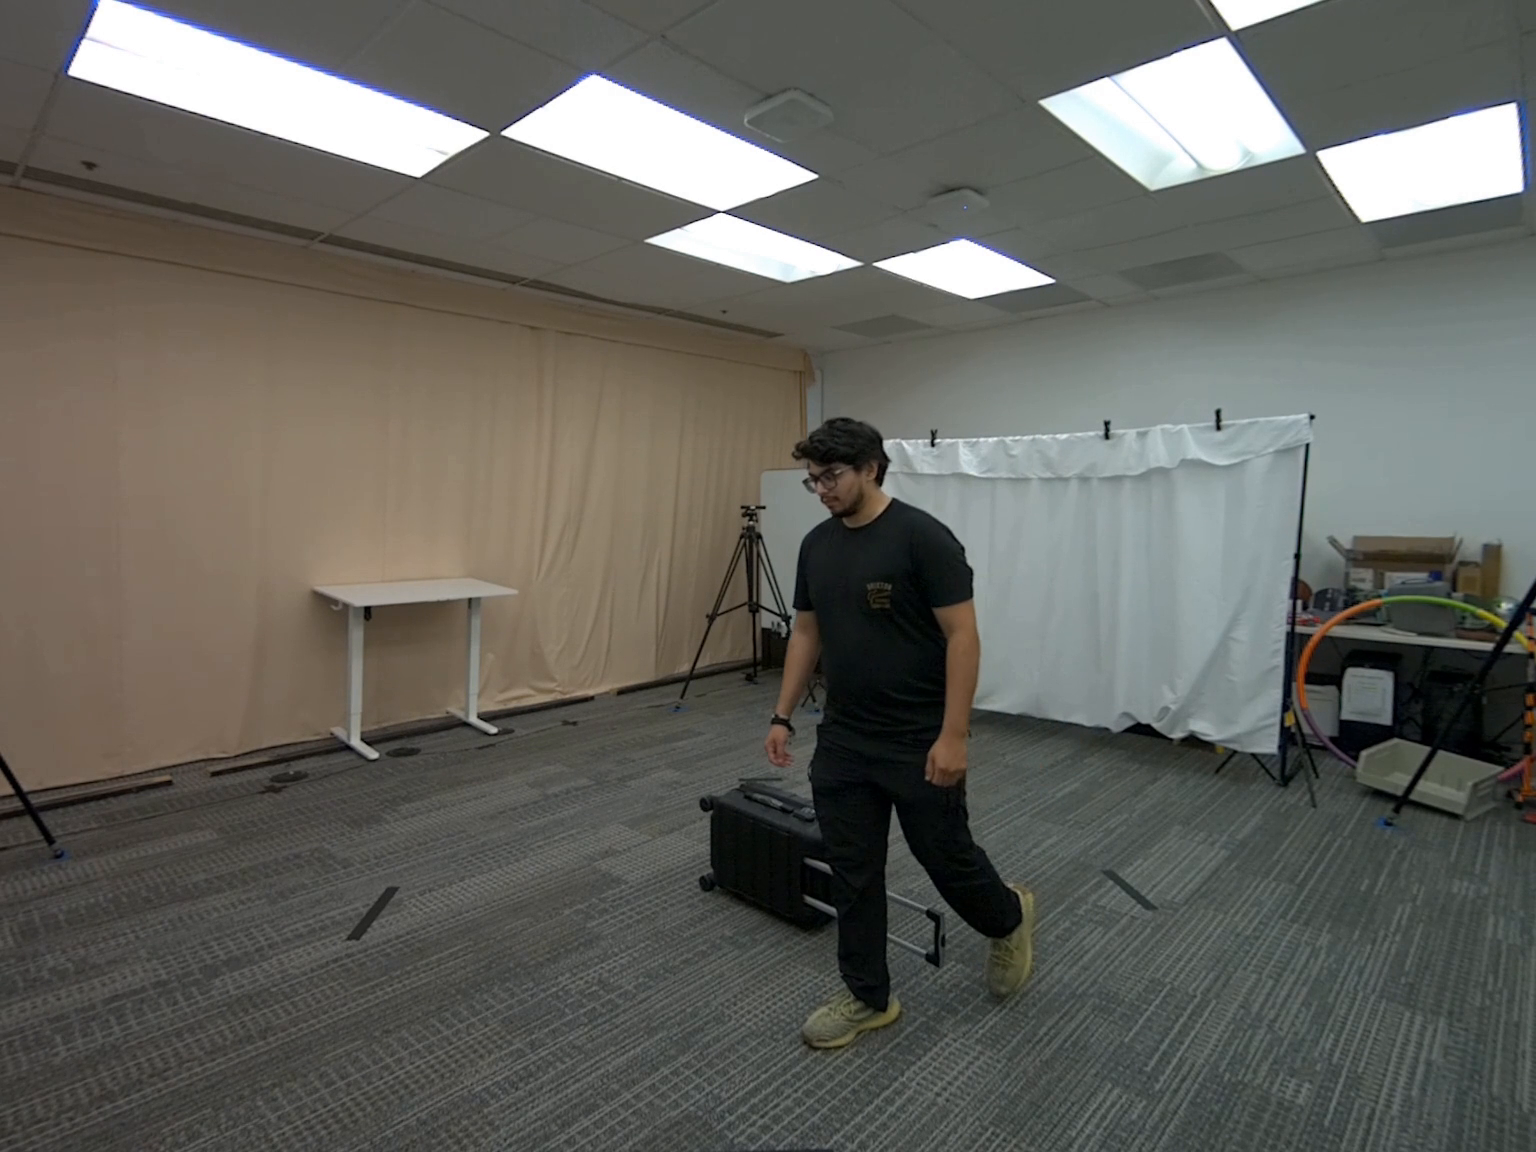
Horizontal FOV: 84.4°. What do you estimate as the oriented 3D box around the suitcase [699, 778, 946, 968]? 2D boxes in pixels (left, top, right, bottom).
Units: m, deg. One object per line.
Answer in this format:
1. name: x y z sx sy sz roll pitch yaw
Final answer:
1. suitcase: 0.196 0.974 2.801 1.012 0.383 0.249 5 6 43
